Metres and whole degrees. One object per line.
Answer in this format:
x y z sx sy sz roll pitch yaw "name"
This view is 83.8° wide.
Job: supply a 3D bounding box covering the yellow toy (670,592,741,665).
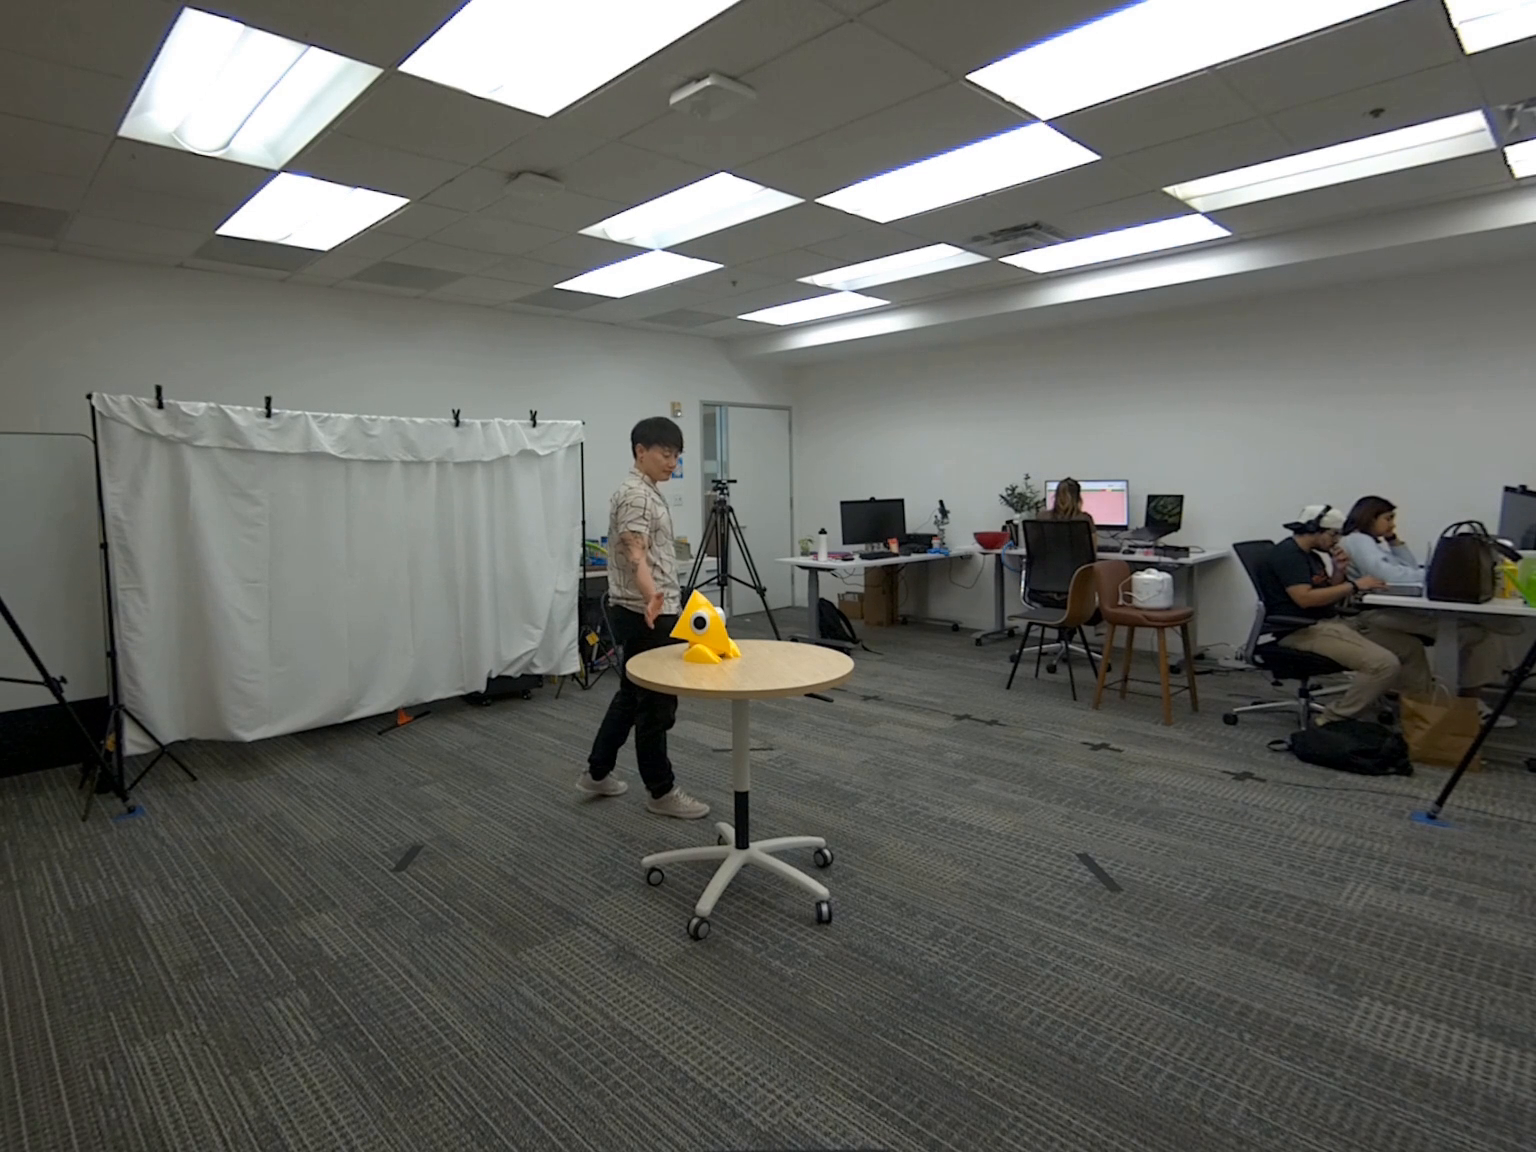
-0.202 0.167 2.965 0.199 0.230 0.200 4 6 36 "yellow toy"
